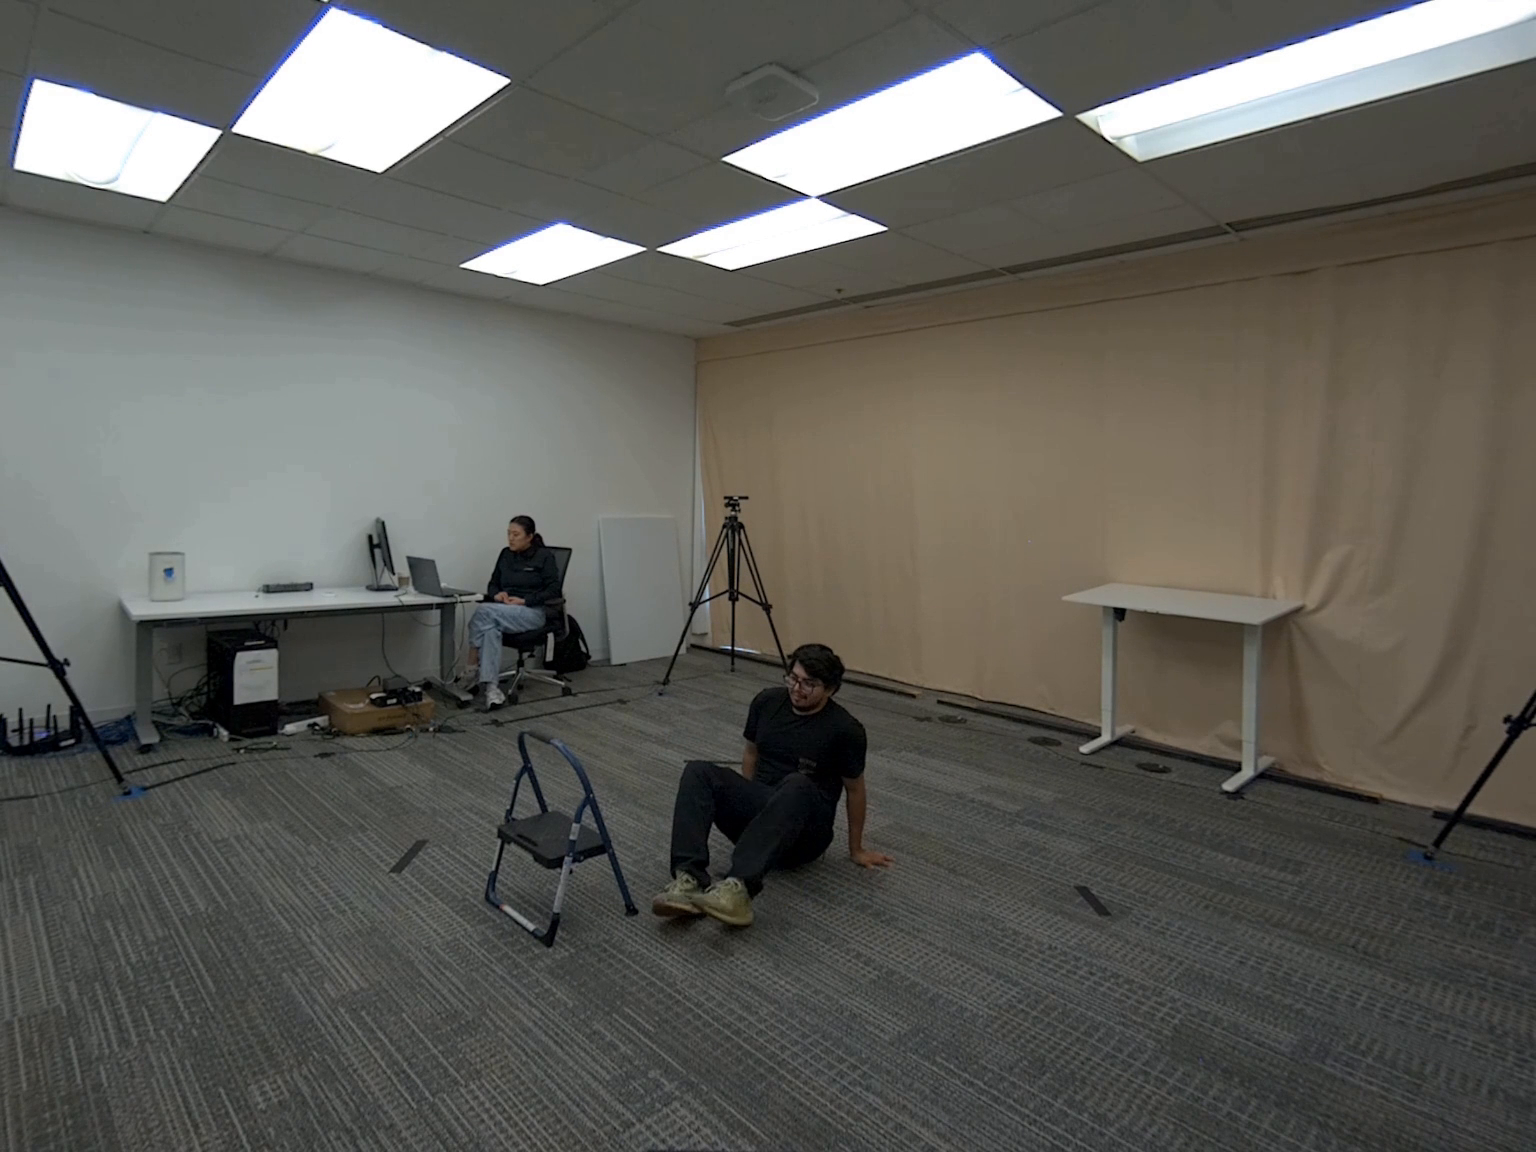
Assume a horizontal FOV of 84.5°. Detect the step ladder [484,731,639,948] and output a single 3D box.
[{"bbox_3d":[-0.700,0.816,2.822,0.341,0.605,0.441,-2,5,-45],"label":"step ladder"}]
